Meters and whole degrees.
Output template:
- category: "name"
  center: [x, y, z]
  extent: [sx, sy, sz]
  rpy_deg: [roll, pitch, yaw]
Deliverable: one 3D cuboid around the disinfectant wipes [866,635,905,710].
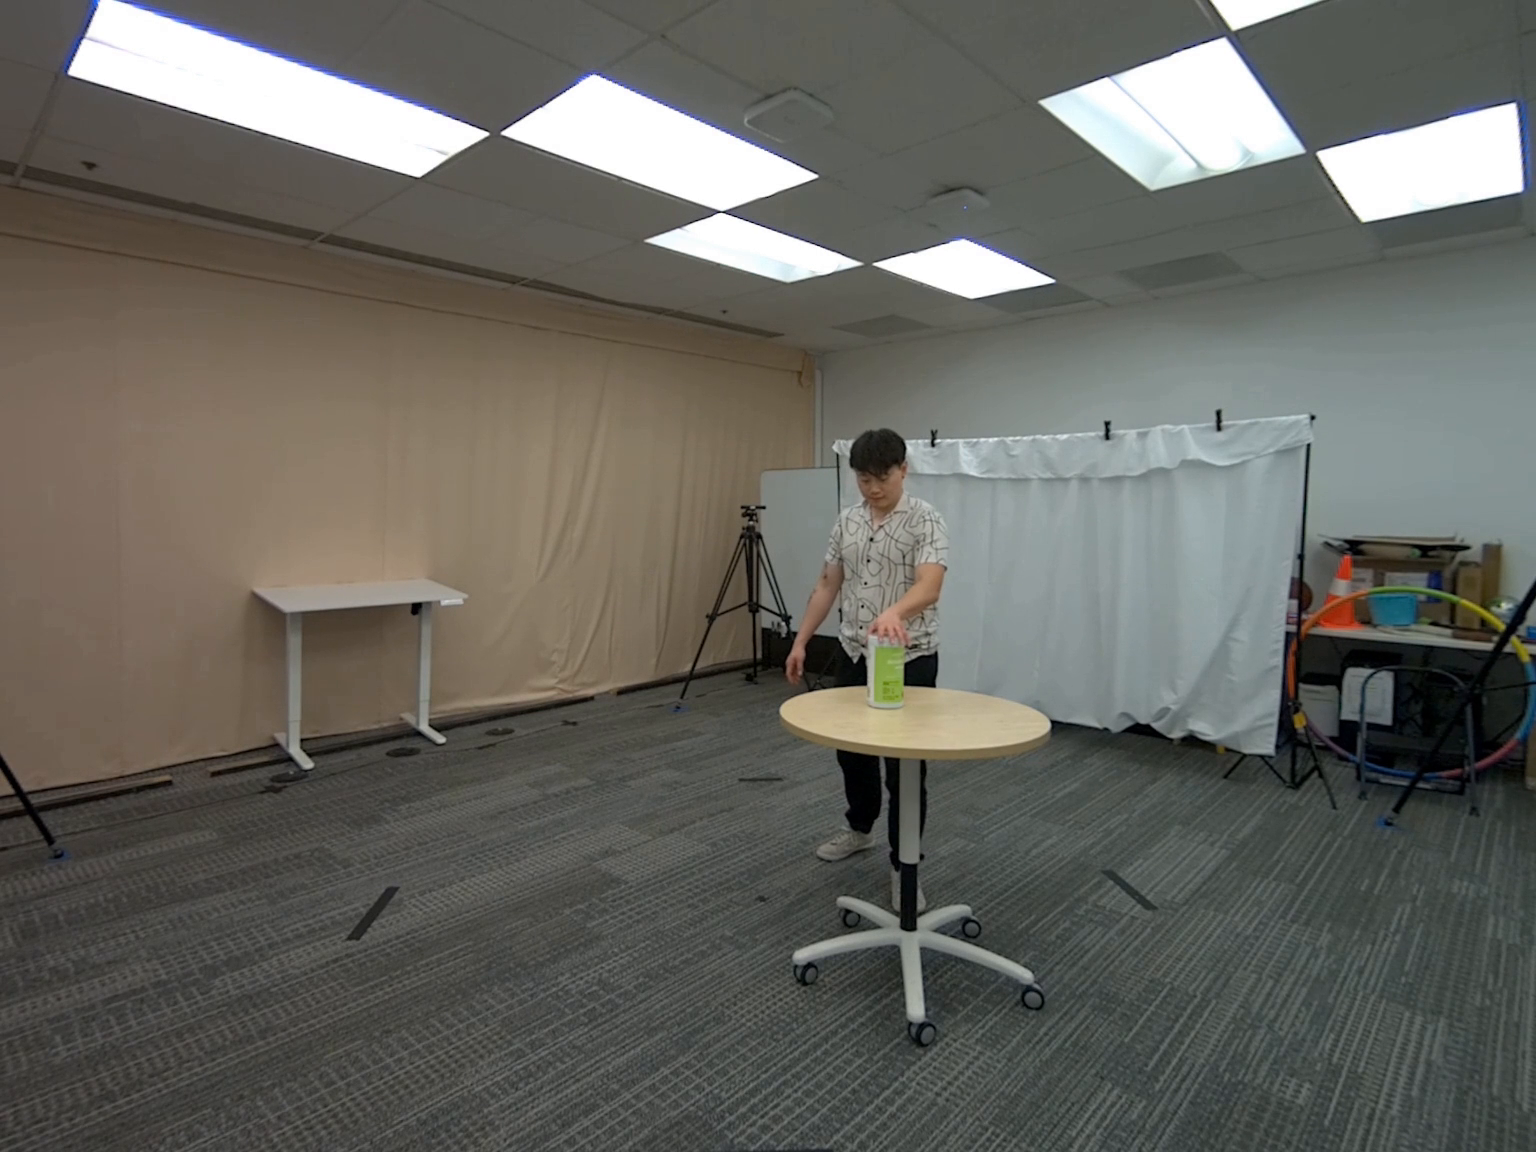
- category: "disinfectant wipes"
  center: [0.354, 0.292, 2.557]
  extent: [0.118, 0.217, 0.118]
  rpy_deg: [1, 4, -2]
